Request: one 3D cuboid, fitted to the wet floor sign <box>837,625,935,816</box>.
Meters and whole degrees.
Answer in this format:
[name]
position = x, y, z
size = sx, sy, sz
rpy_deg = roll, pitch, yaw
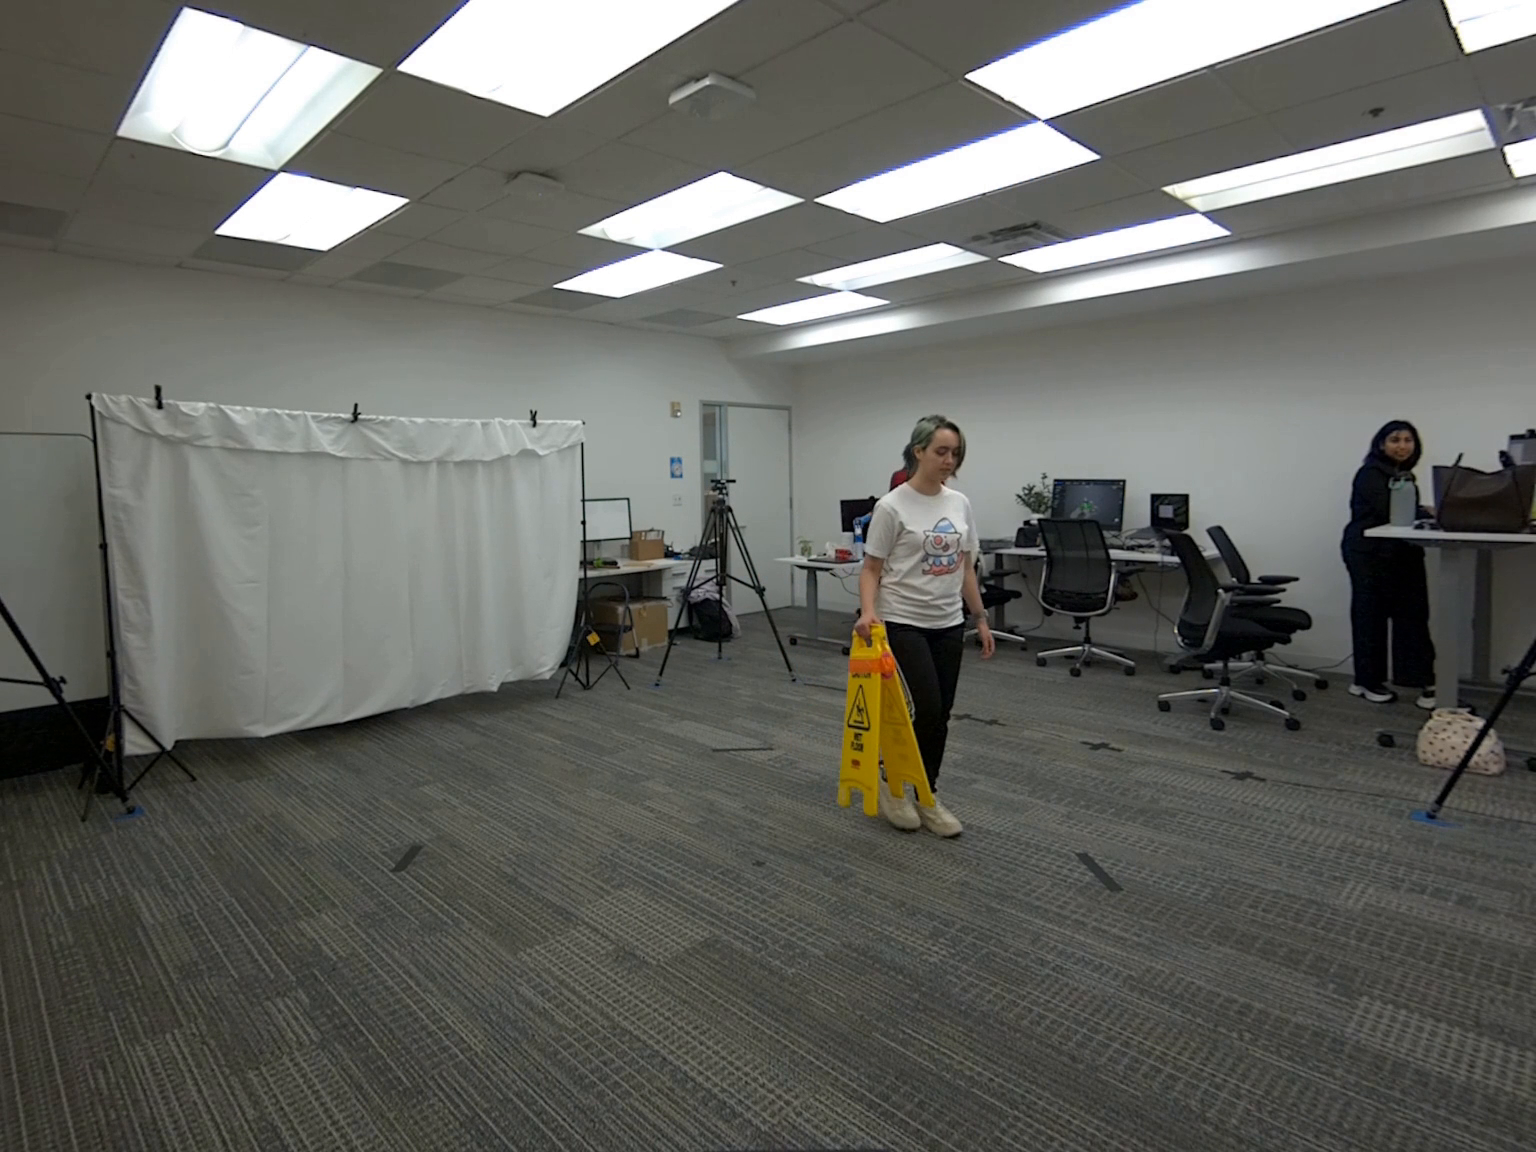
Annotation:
[wet floor sign]
position = 0.392, 0.508, 3.124
size = 0.285, 0.650, 0.285
rpy_deg = -3, -7, -21
